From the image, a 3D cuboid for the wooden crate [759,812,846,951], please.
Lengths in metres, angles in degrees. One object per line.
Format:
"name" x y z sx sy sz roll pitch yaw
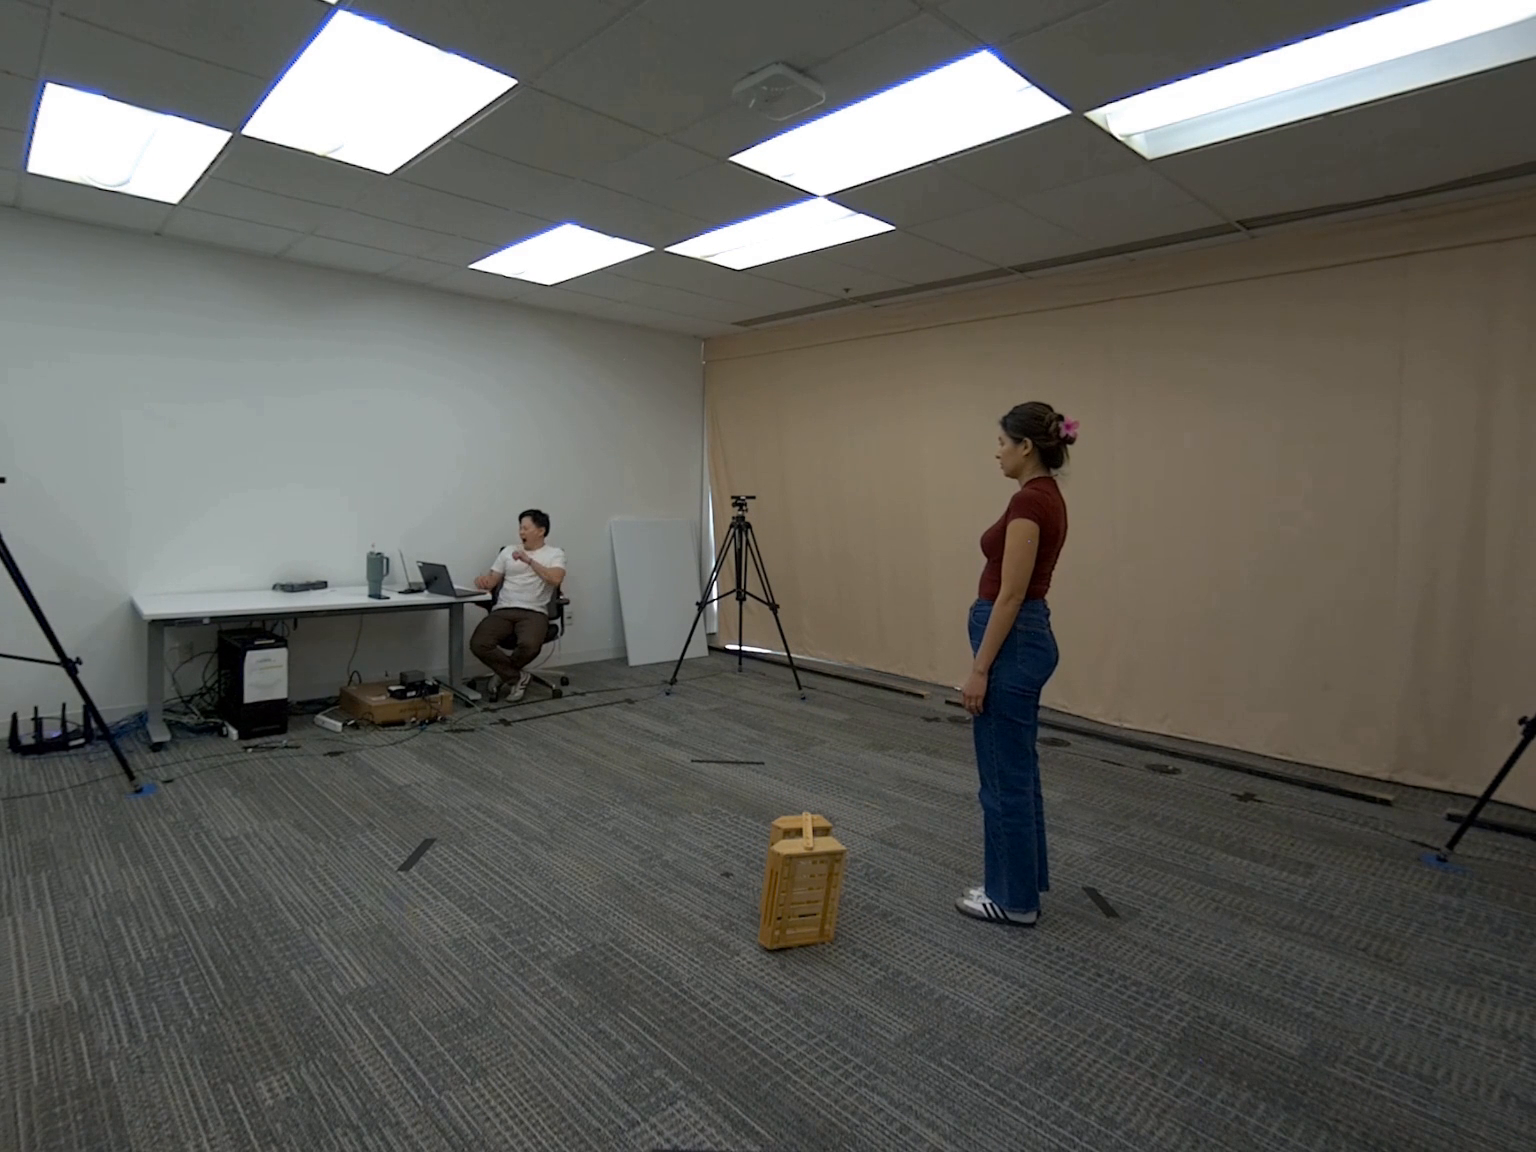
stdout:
"wooden crate" 0.076 0.975 2.718 0.296 0.323 0.279 5 6 -26
